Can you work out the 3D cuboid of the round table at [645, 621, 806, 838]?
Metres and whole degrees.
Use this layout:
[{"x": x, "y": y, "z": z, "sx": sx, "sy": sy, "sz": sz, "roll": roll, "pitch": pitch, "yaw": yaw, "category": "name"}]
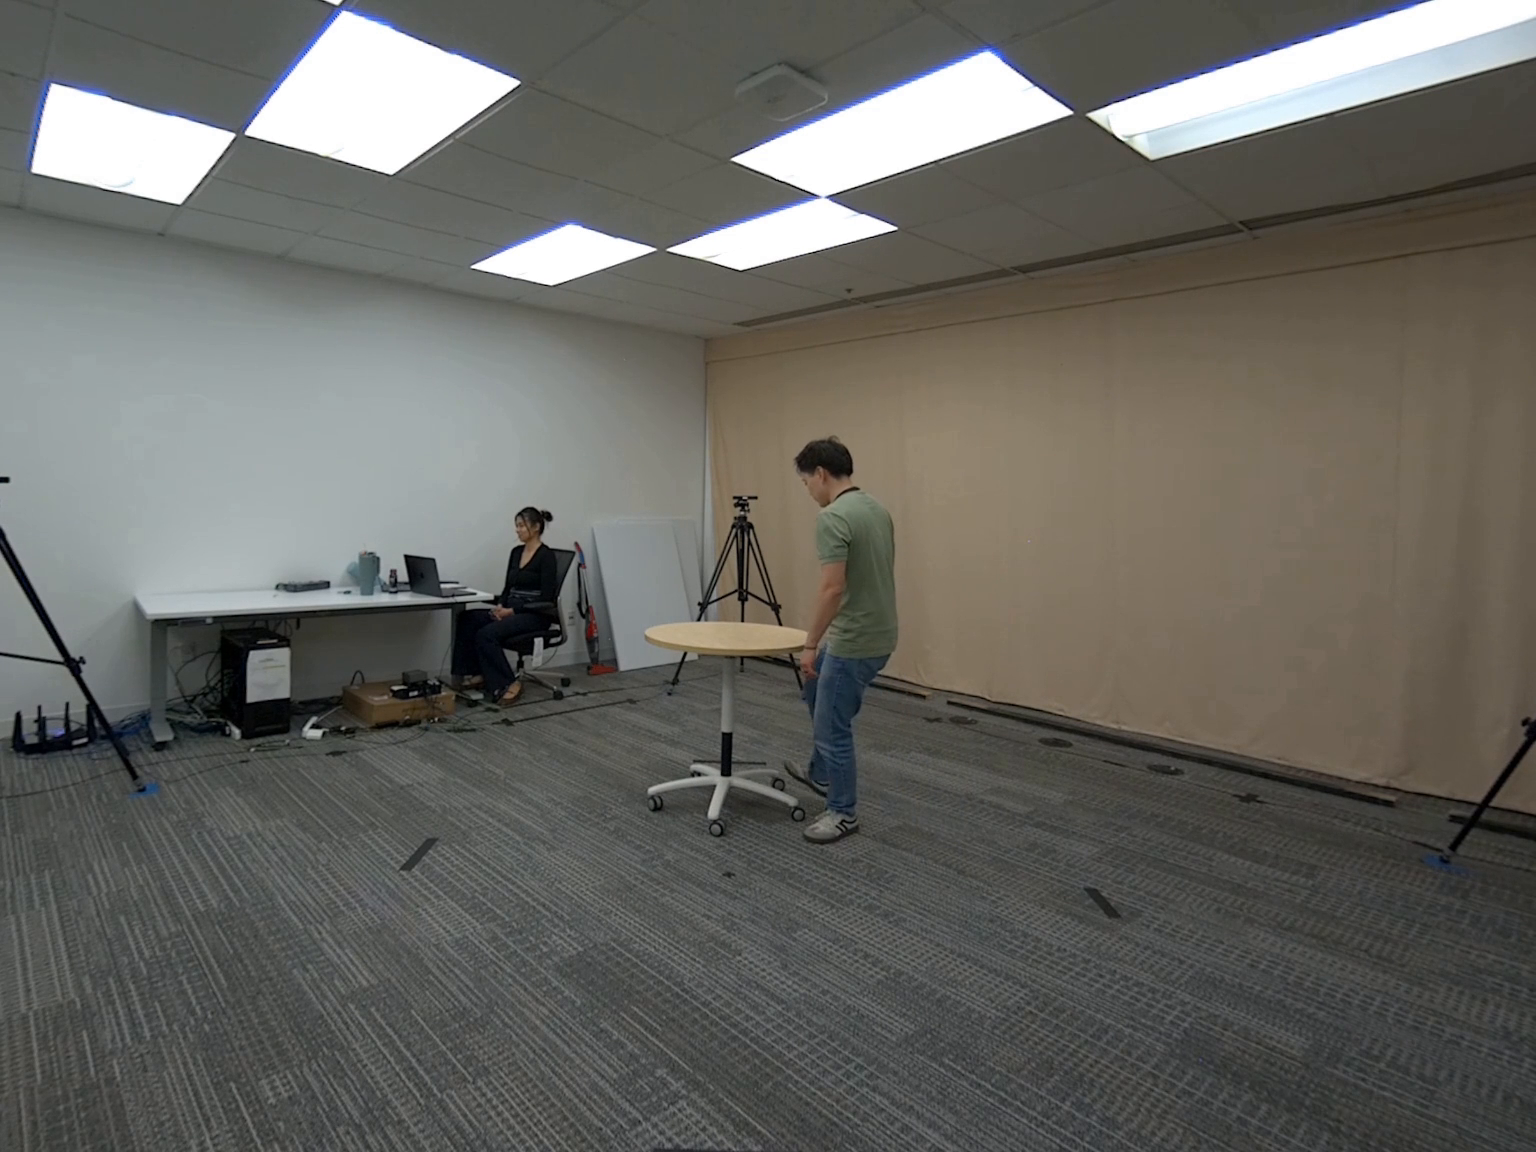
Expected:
[{"x": -0.189, "y": 0.652, "z": 3.782, "sx": 0.763, "sy": 0.792, "sz": 0.766, "roll": 2, "pitch": 3, "yaw": -1, "category": "round table"}]
